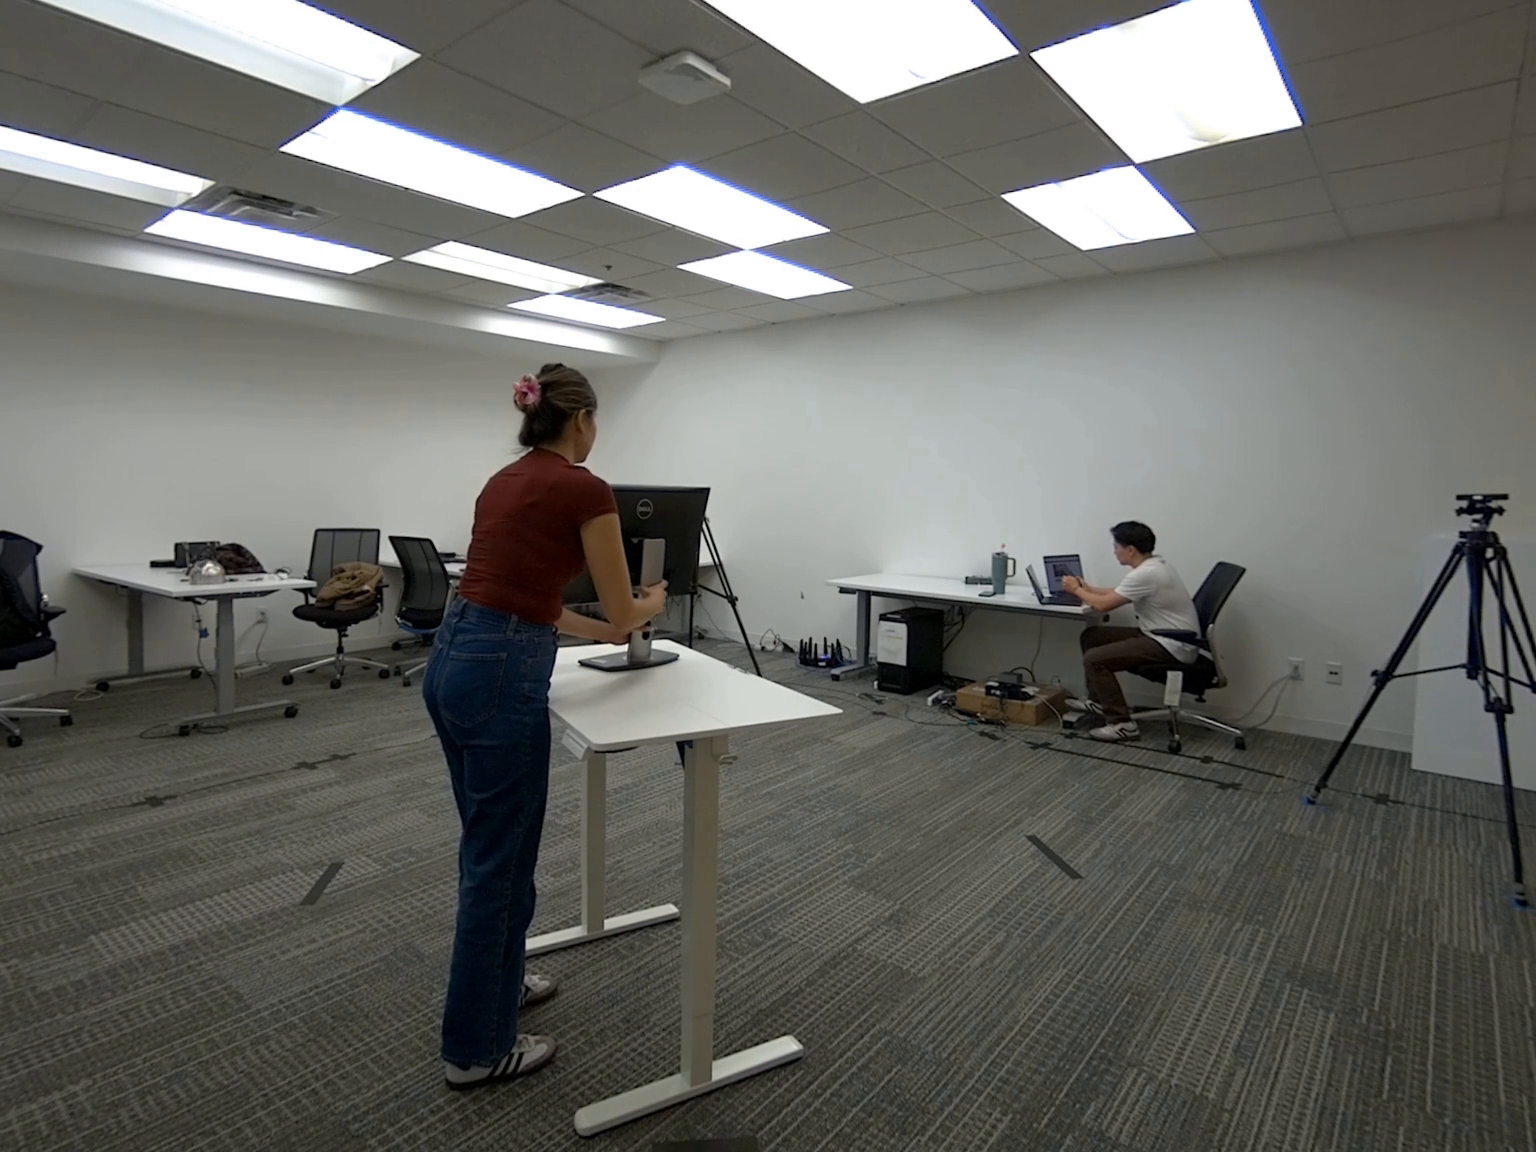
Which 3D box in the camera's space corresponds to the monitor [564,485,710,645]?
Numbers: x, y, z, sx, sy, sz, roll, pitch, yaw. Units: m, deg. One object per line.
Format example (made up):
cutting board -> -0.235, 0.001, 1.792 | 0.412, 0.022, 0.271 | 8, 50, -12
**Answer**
monitor -> -0.390, 0.000, 2.440 | 0.194, 0.520, 0.523 | 7, 8, 42
